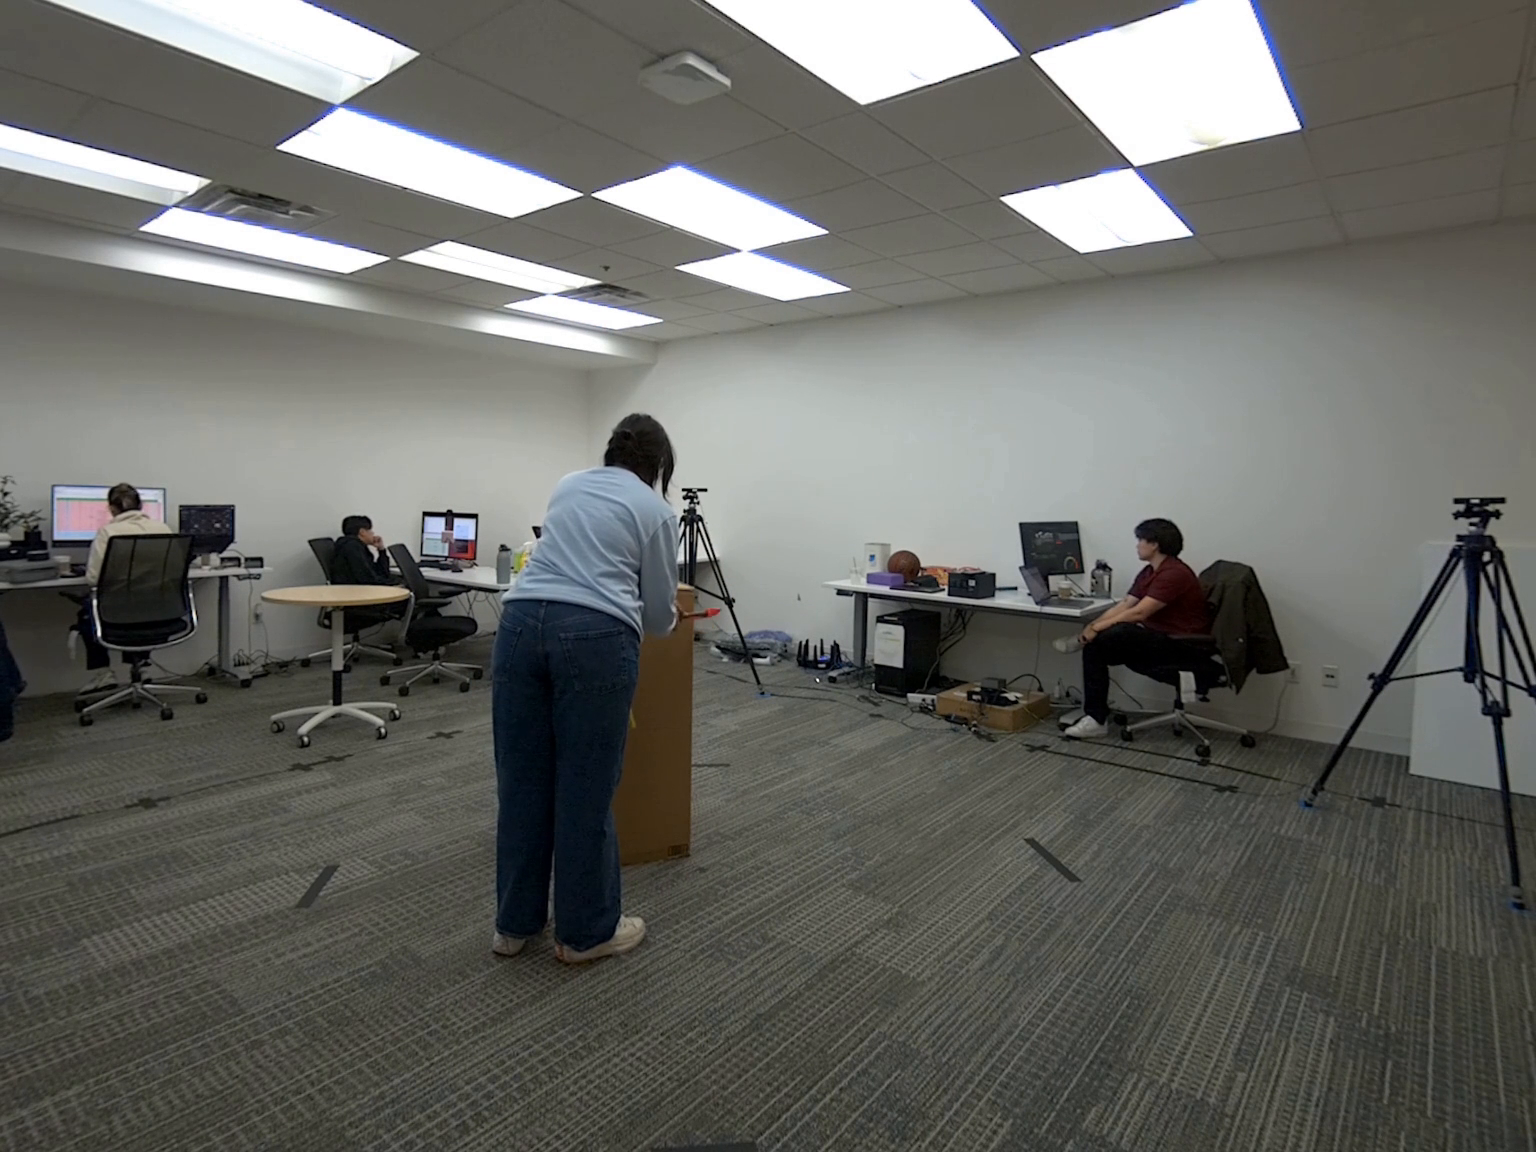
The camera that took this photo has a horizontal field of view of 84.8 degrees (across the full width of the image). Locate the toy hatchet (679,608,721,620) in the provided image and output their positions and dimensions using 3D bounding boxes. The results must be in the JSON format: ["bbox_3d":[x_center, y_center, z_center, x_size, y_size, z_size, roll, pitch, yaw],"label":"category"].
[{"bbox_3d":[-0.321,0.139,3.027,0.263,0.030,0.133,-7,-8,-30],"label":"toy hatchet"}]
